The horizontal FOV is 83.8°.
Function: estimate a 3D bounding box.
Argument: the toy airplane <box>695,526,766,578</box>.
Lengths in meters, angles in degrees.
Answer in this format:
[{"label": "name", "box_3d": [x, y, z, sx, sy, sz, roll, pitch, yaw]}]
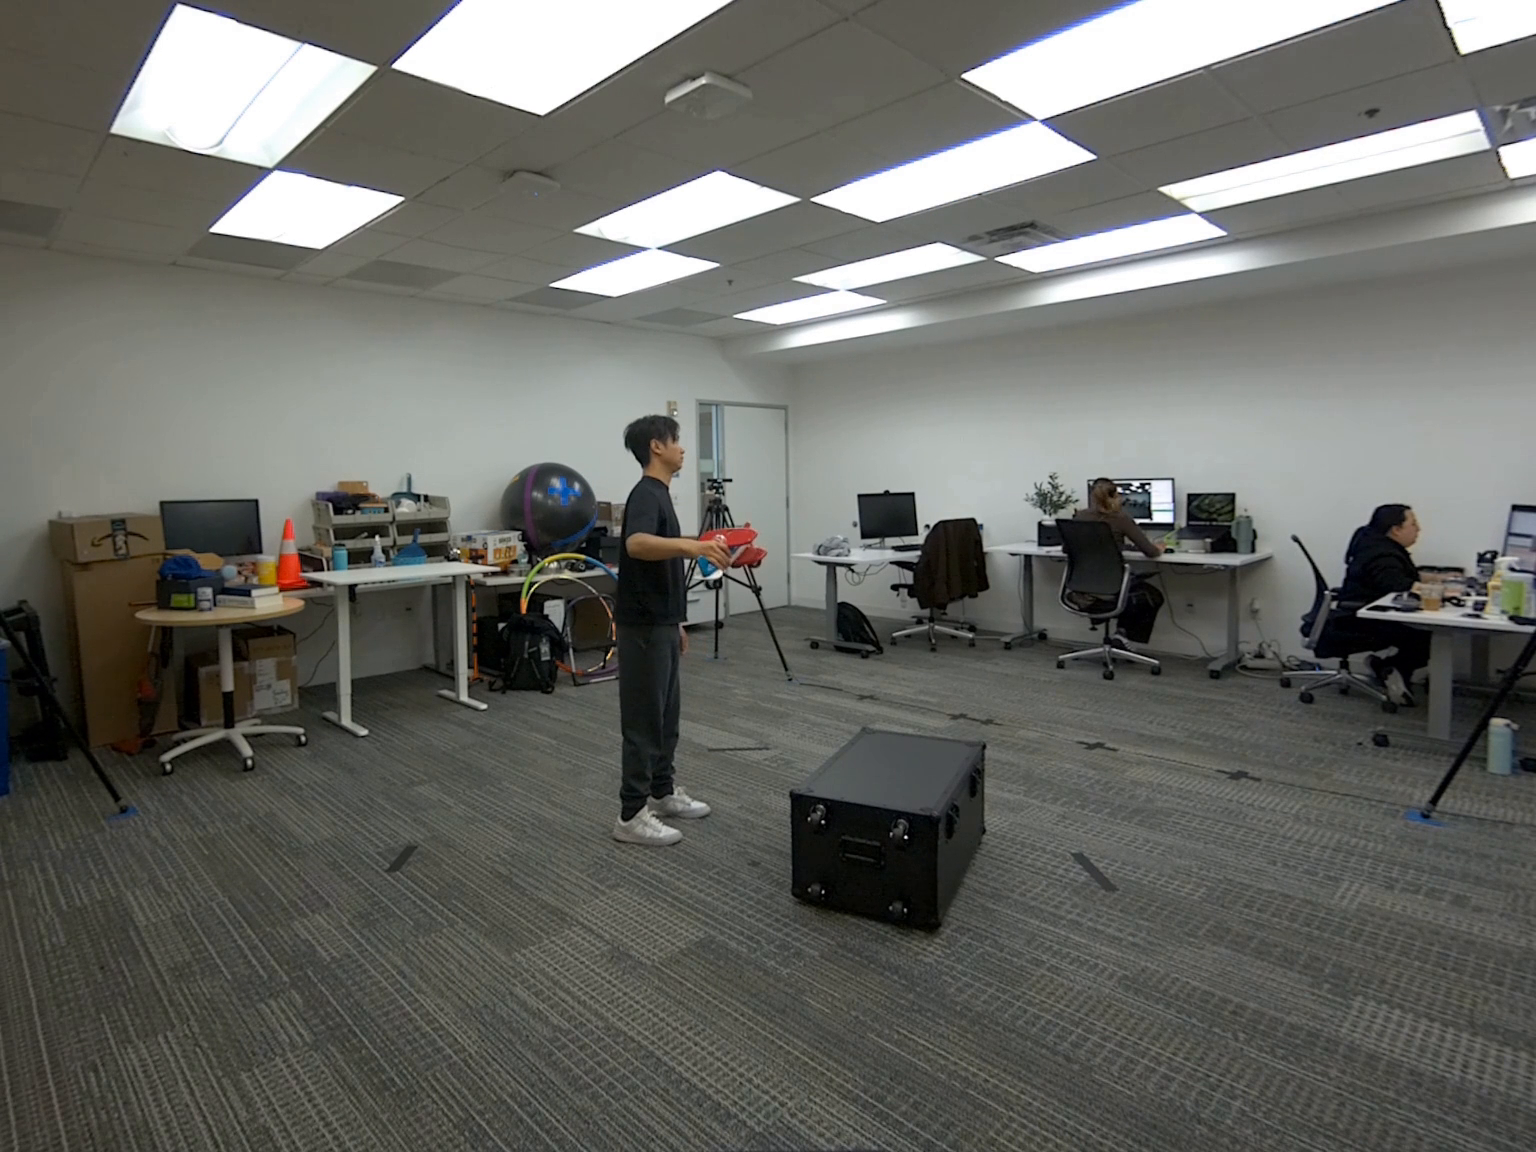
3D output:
[{"label": "toy airplane", "box_3d": [-0.126, -0.072, 2.912, 0.254, 0.154, 0.261, -14, 16, 15]}]
